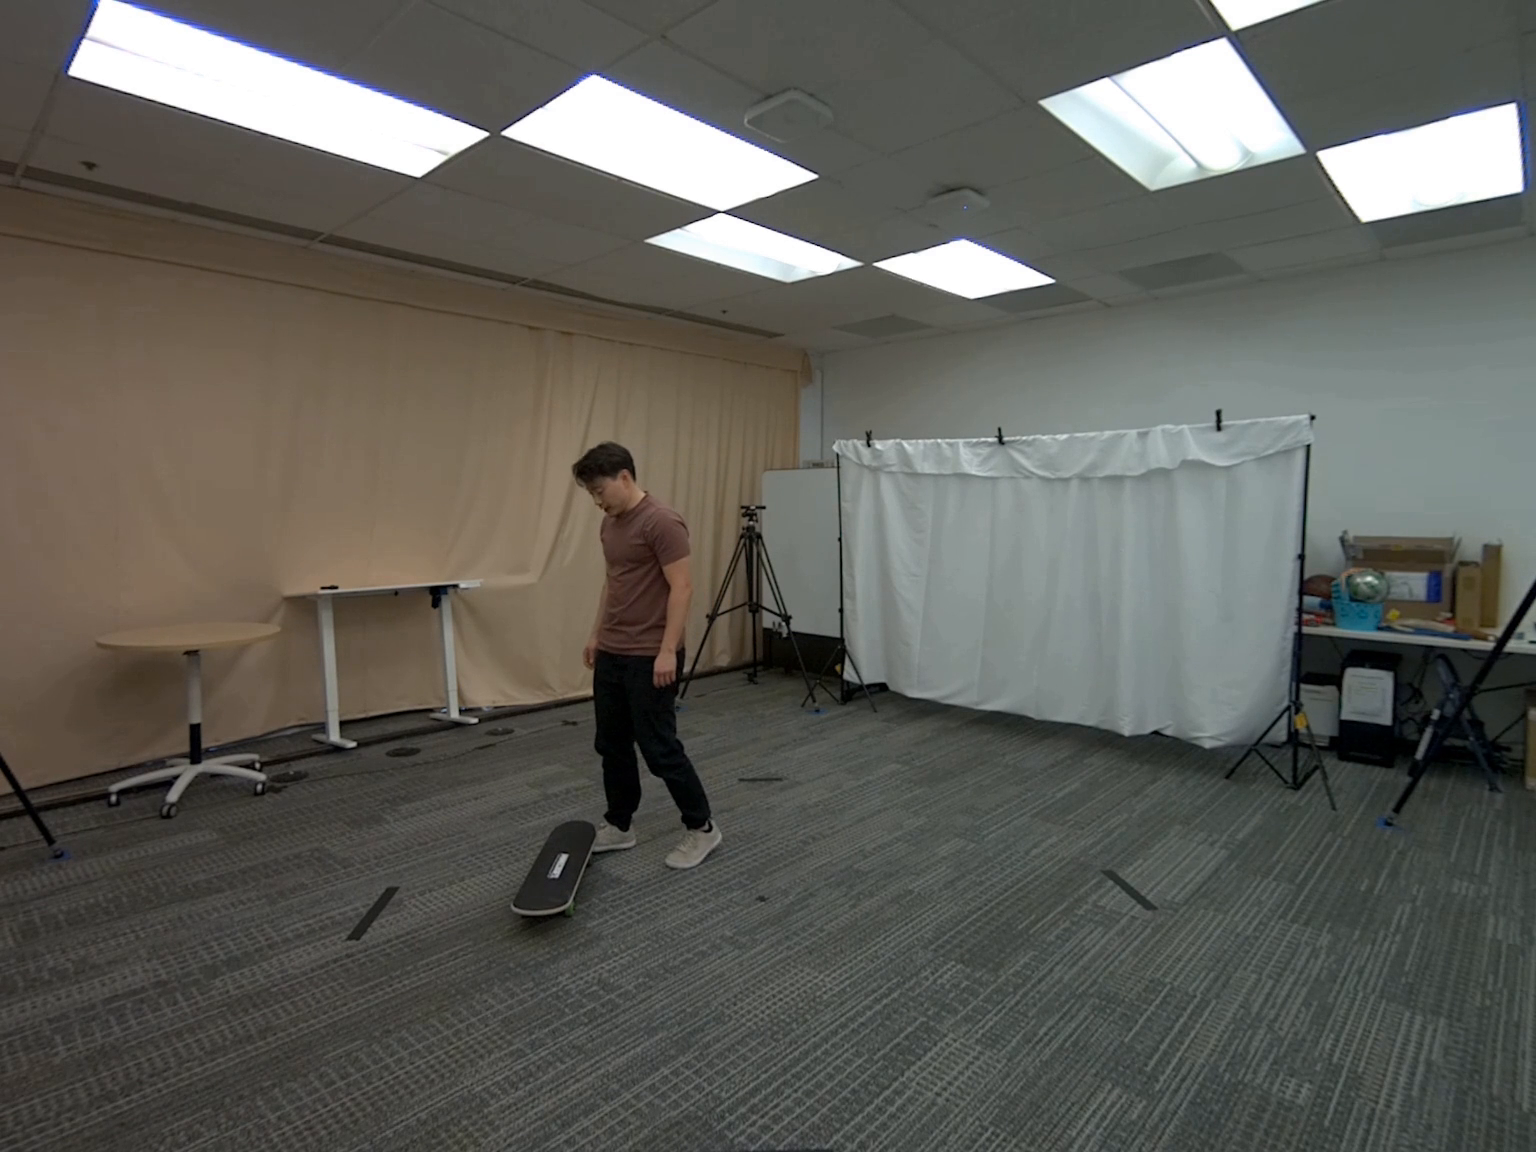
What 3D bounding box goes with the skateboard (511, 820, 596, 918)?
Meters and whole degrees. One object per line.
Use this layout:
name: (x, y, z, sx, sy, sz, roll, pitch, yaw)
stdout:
skateboard: (-0.762, 1.086, 3.064, 0.193, 0.110, 0.787, -1, 4, -2)
